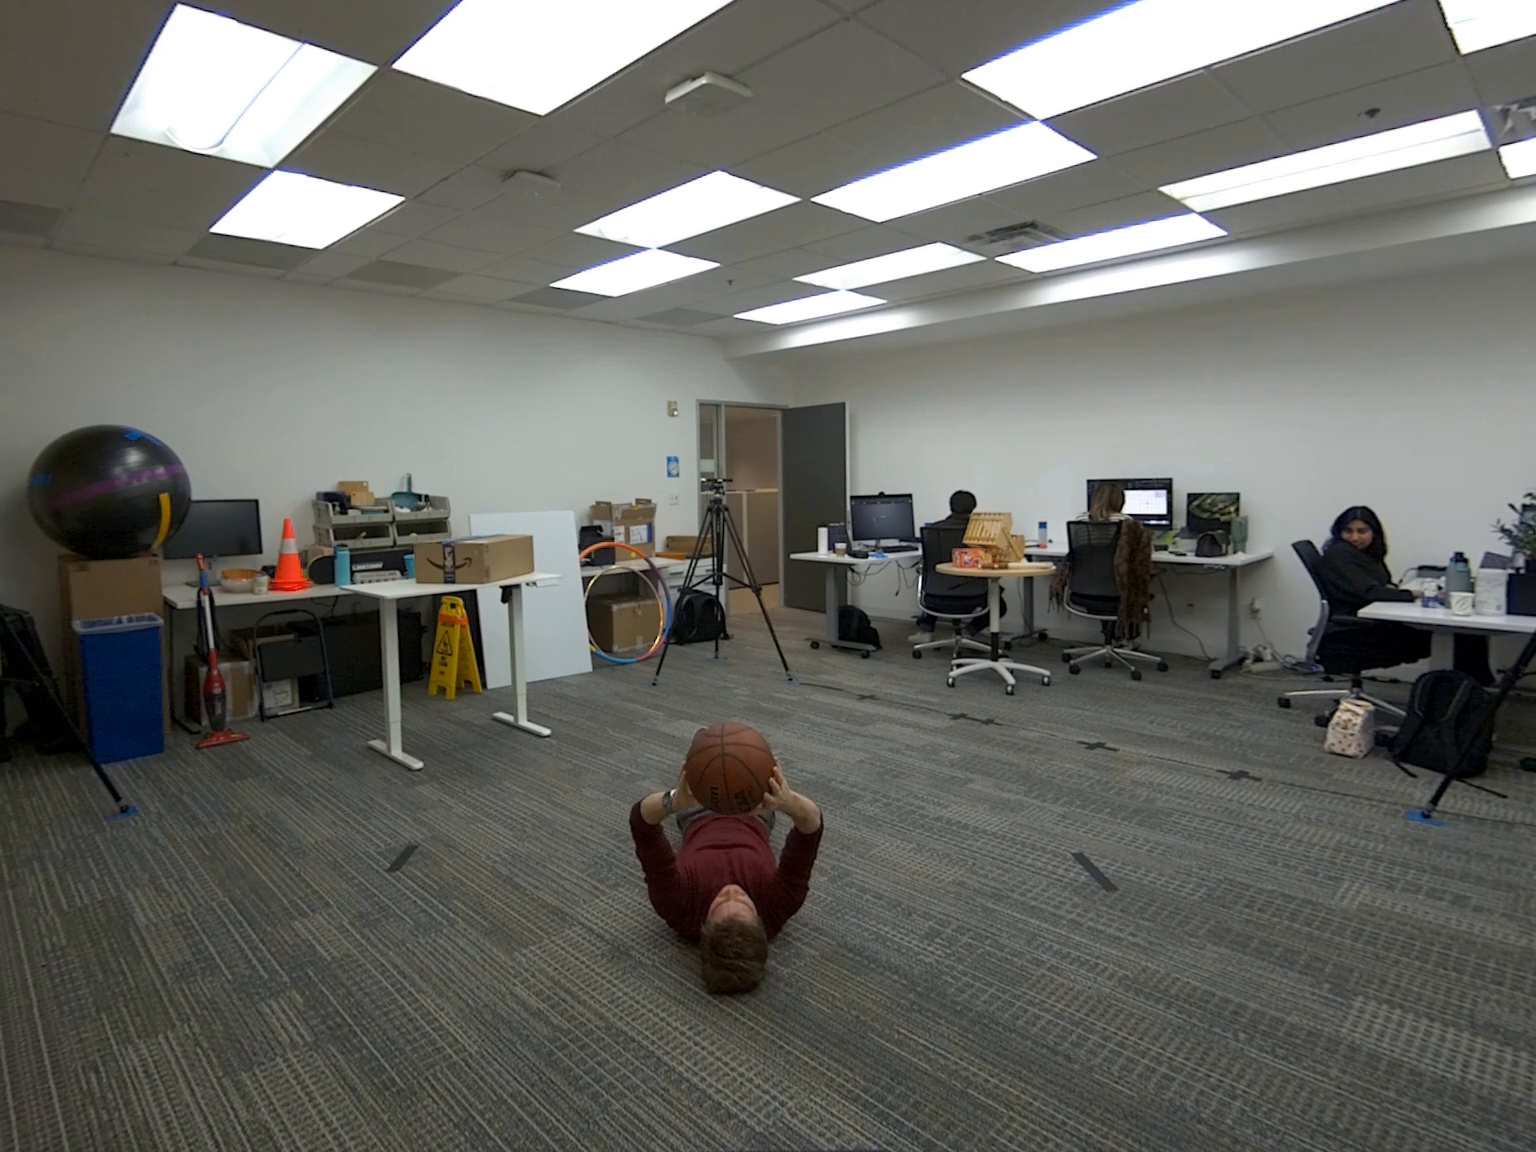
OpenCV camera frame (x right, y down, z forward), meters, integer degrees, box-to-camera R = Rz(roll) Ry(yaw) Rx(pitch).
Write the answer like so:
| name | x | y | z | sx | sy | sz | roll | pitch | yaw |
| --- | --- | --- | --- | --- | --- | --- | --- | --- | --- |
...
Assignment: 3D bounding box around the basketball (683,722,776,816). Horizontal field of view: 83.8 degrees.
| name | x | y | z | sx | sy | sz | roll | pitch | yaw |
| --- | --- | --- | --- | --- | --- | --- | --- | --- | --- |
| basketball | -0.092 | 0.513 | 2.265 | 0.236 | 0.235 | 0.237 | -1 | 5 | -2 |
